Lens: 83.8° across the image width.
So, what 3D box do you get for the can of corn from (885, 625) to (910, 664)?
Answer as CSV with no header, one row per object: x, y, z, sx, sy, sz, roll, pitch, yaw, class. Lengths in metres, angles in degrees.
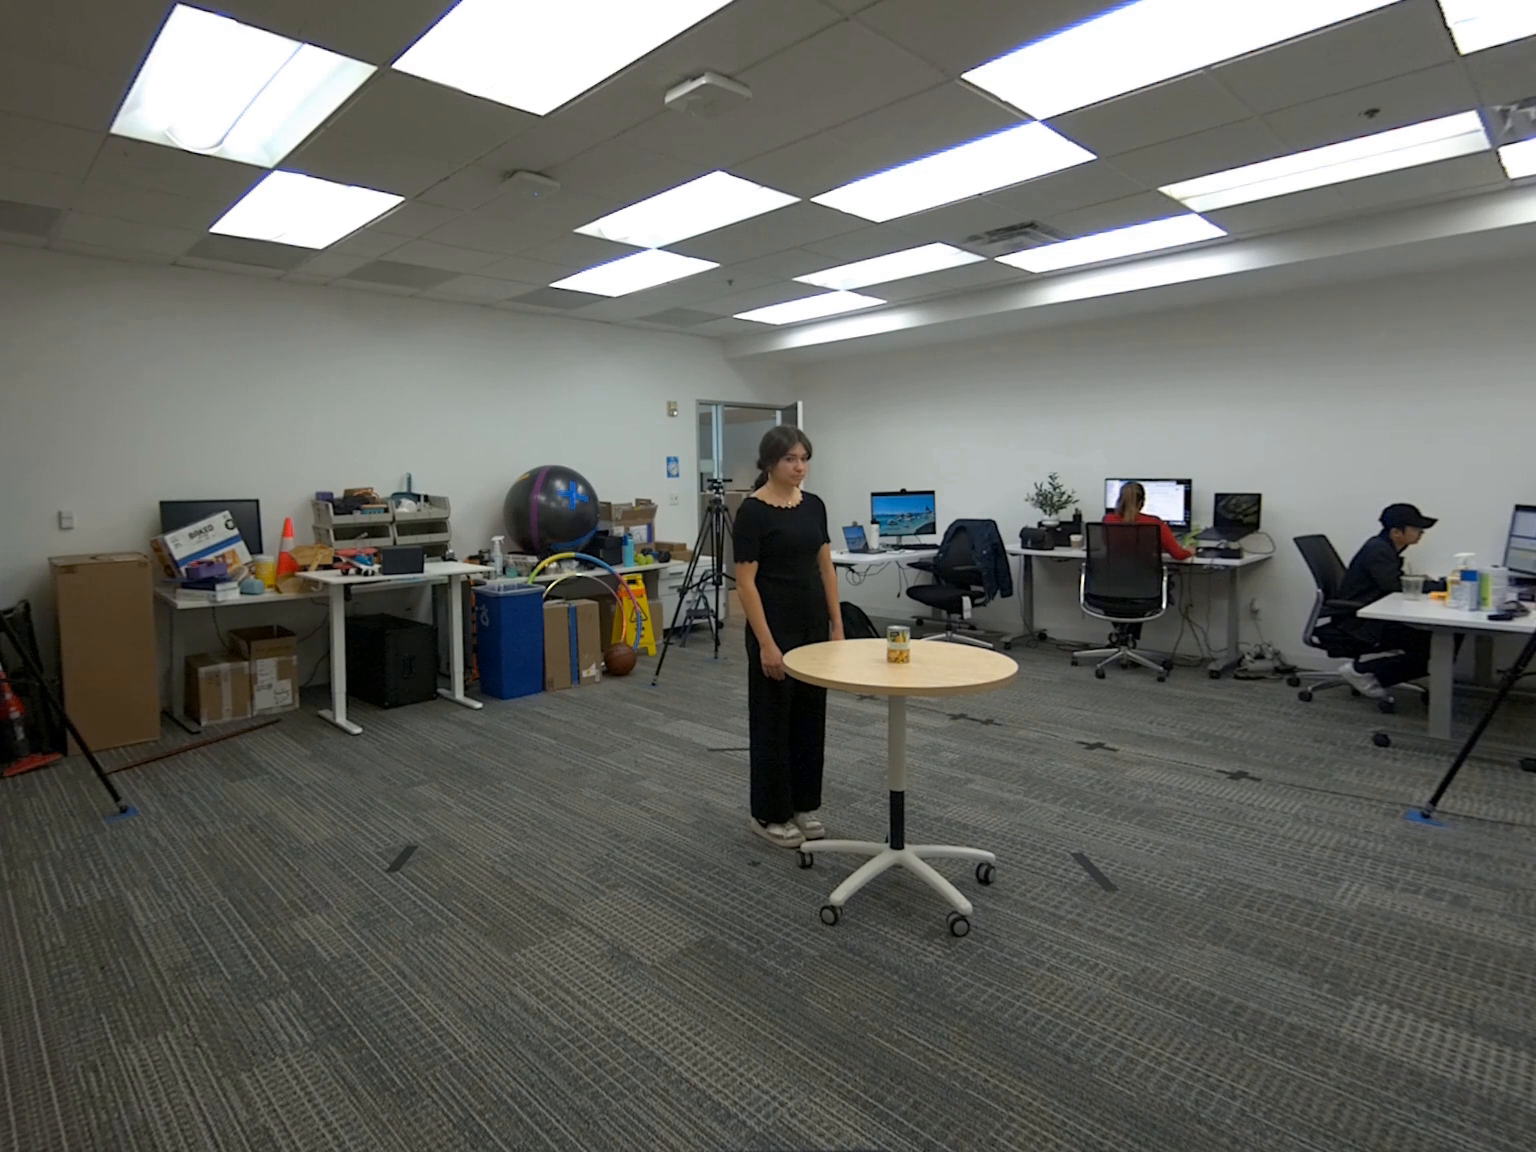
0.440,0.229,2.832,0.074,0.110,0.074,-1,5,-2,can of corn
